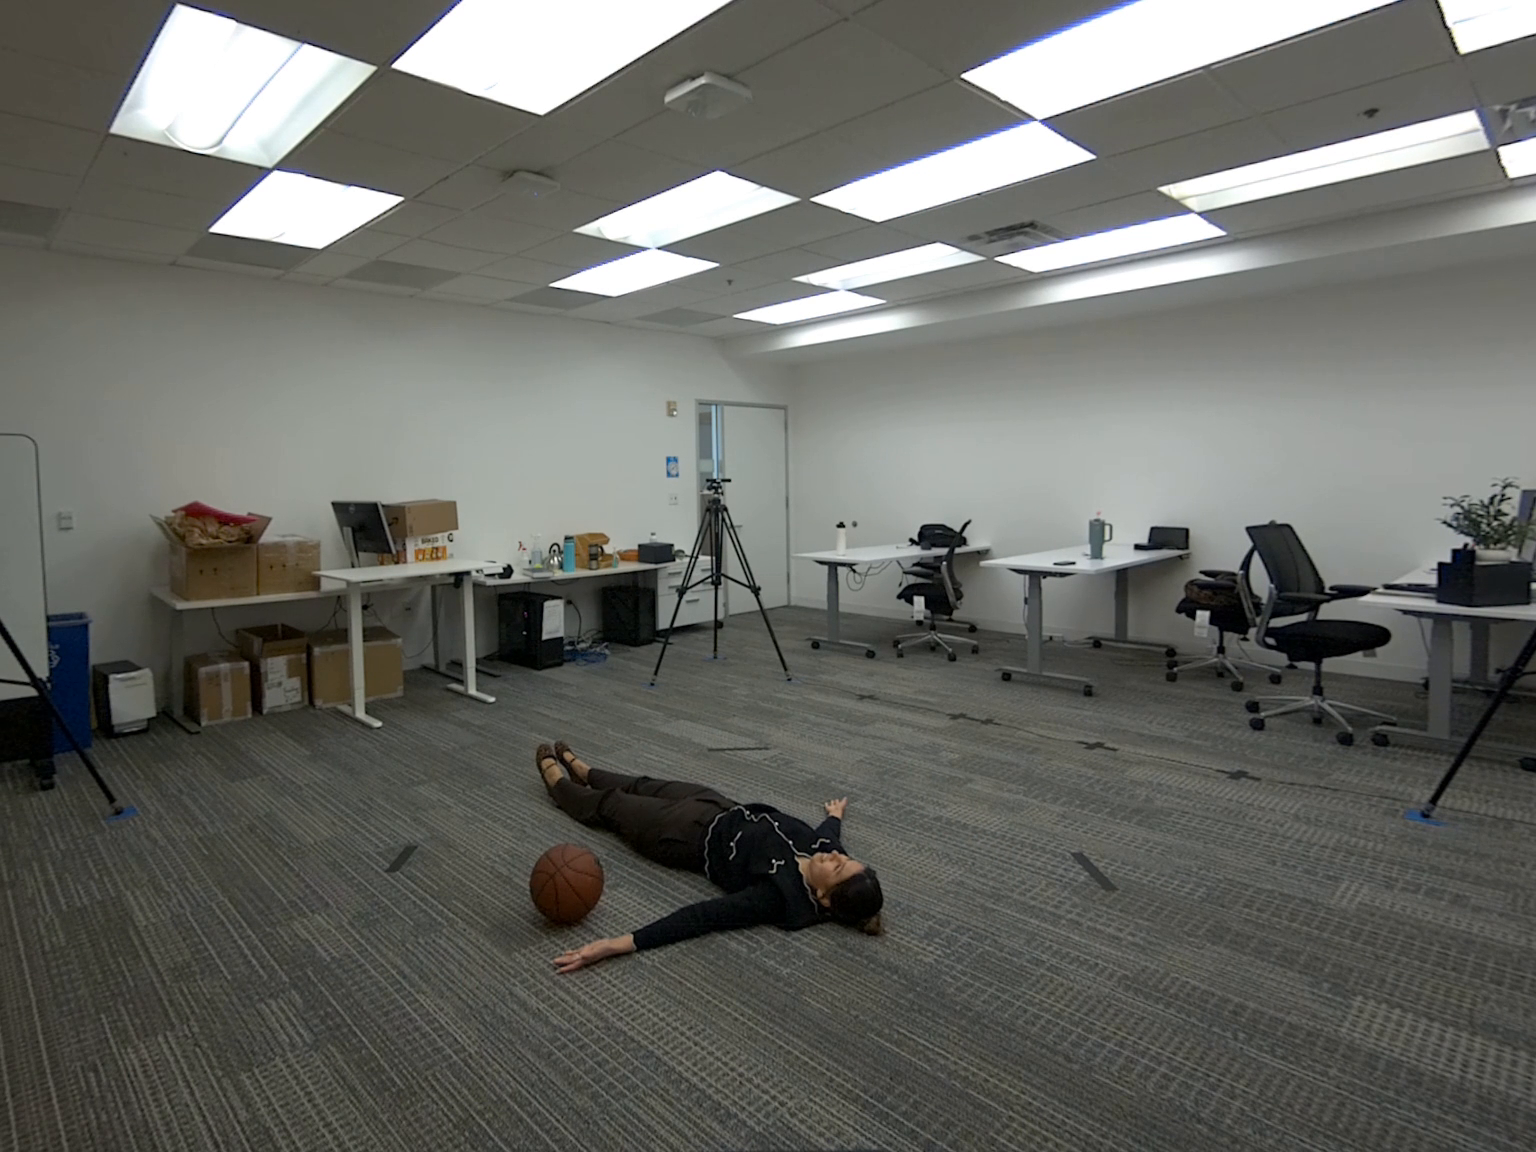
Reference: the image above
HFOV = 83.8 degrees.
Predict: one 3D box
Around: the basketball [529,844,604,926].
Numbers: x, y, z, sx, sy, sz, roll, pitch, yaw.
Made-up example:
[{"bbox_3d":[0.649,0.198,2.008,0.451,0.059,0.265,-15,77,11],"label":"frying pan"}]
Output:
[{"bbox_3d":[-0.639,0.979,2.737,0.236,0.235,0.237,-1,5,-2],"label":"basketball"}]
